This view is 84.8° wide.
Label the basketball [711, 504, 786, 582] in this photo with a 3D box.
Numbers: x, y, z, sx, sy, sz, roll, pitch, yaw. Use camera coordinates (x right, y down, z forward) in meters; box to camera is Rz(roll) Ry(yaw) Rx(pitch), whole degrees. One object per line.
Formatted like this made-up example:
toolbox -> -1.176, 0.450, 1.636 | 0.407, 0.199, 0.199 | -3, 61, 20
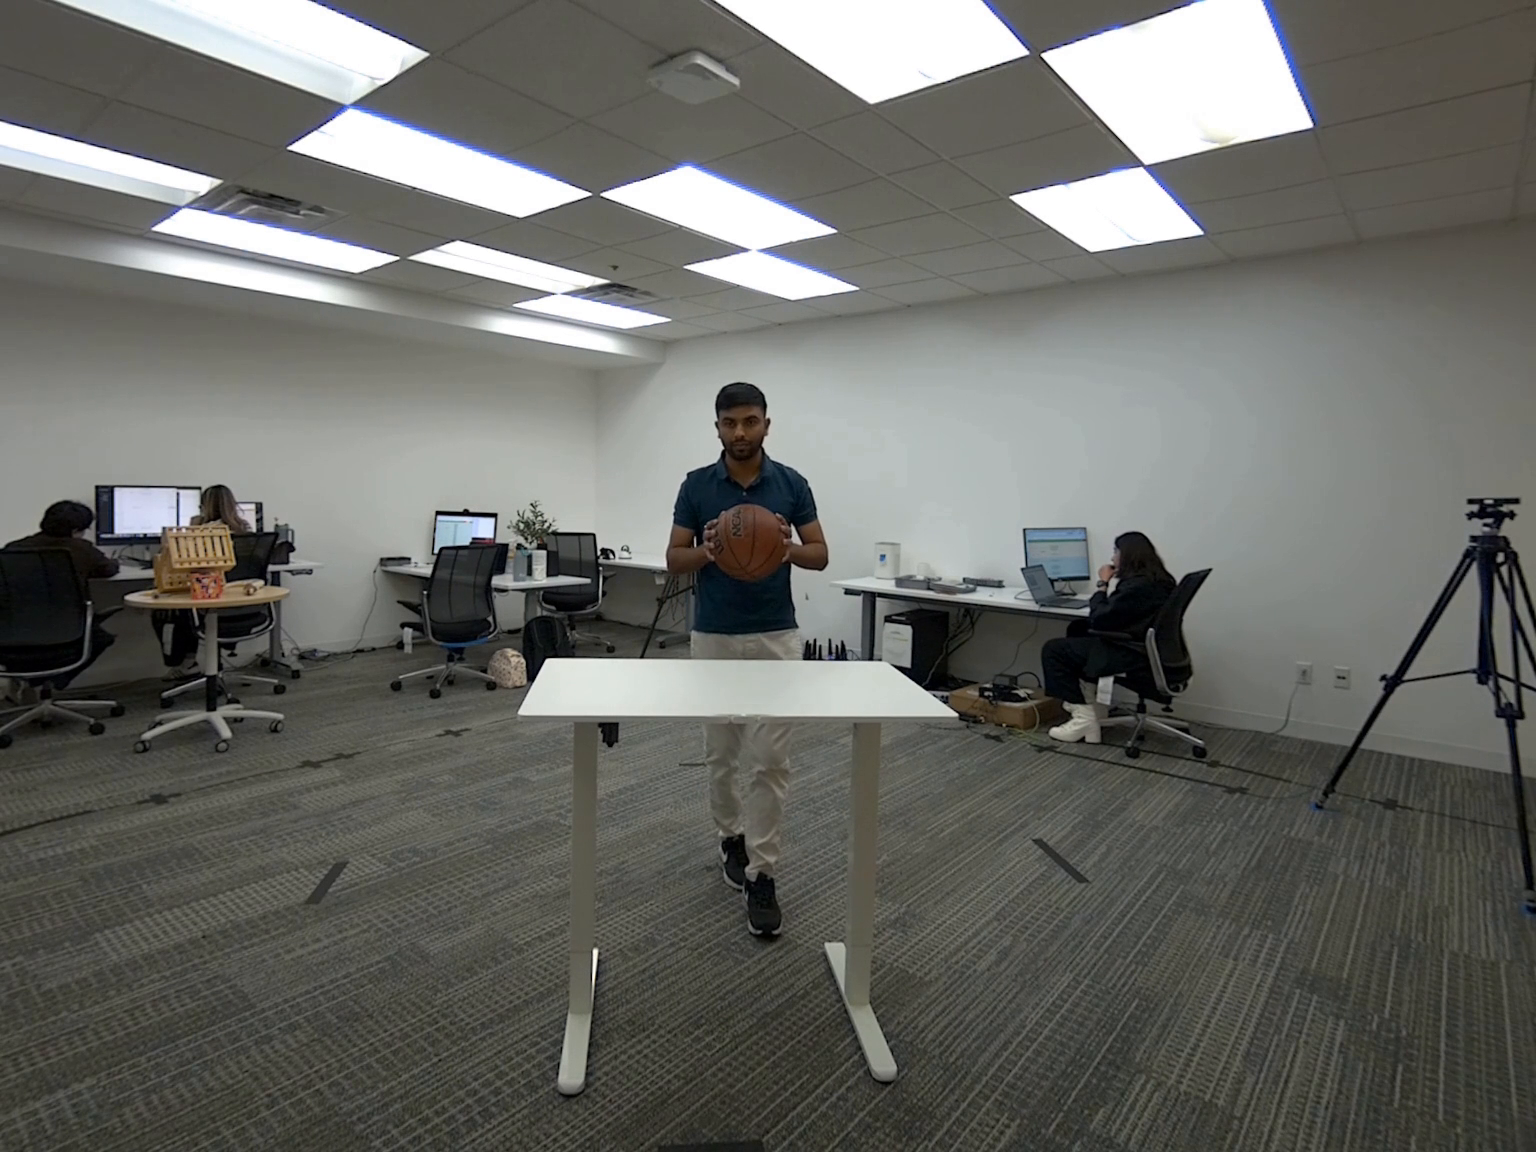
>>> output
basketball -> -0.064, -0.111, 2.656 | 0.235, 0.235, 0.237 | 1, 4, -2
